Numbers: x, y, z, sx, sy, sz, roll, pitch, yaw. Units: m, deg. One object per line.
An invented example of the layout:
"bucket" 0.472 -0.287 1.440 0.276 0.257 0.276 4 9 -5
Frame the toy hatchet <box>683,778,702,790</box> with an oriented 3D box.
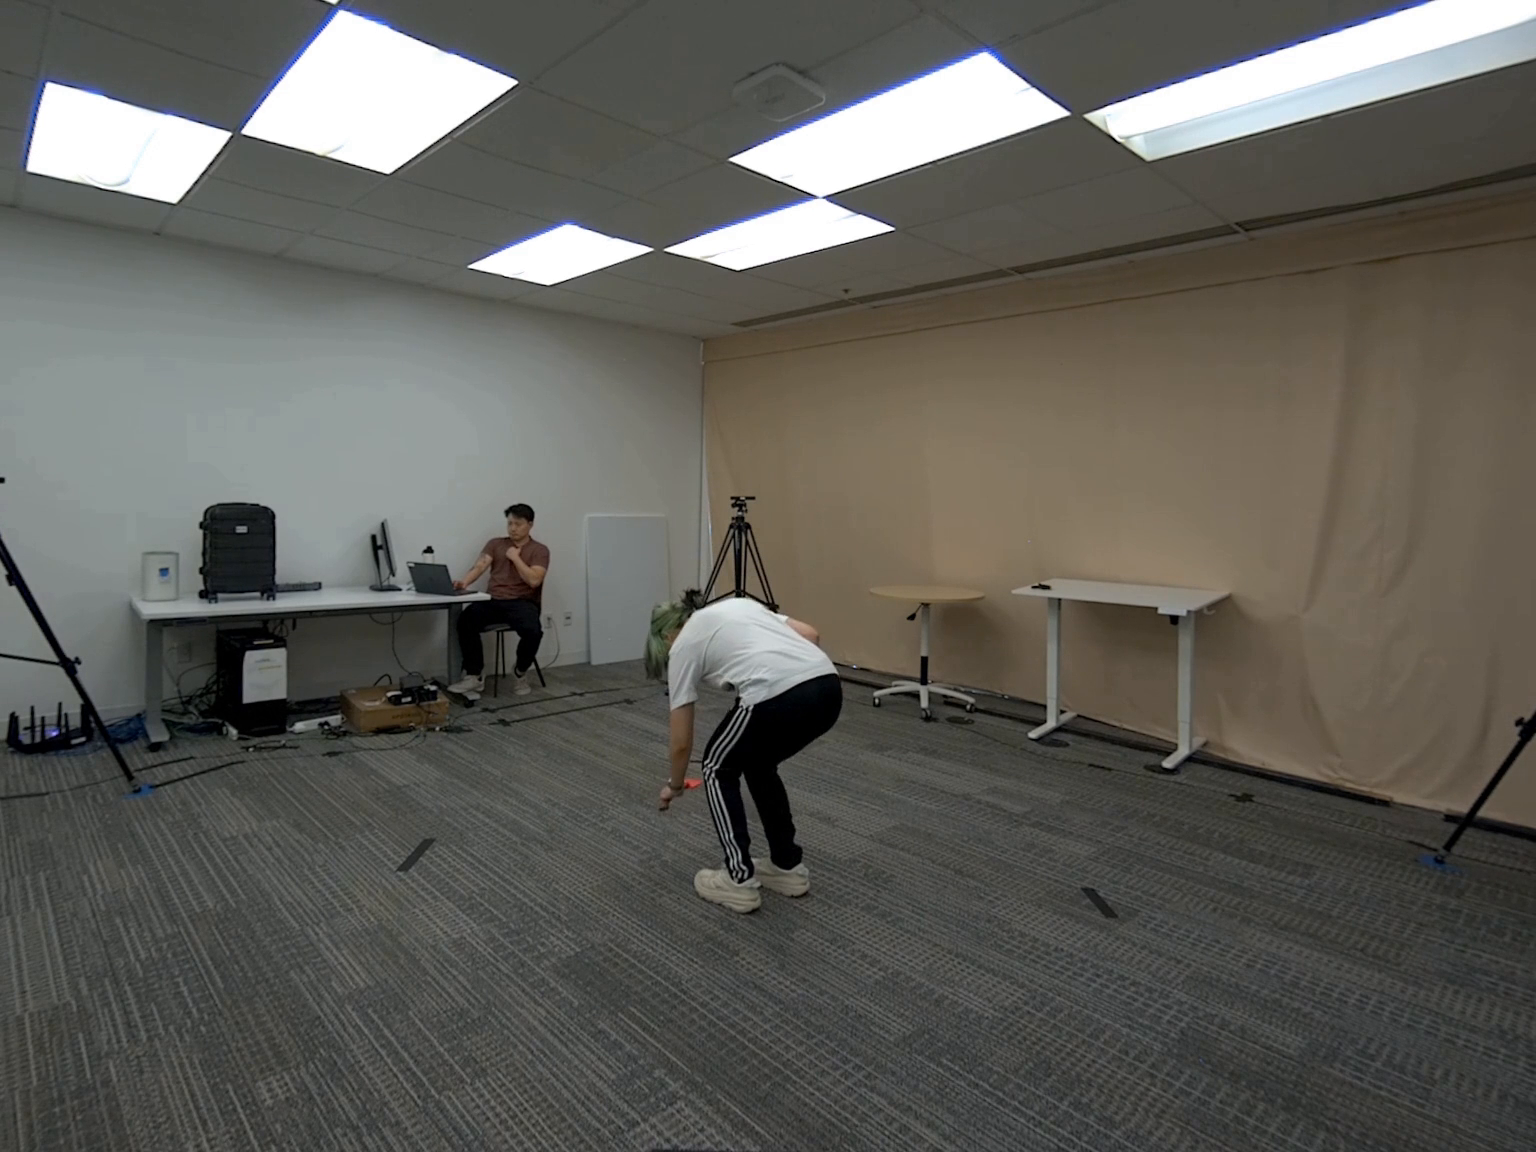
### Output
"toy hatchet" -0.338 0.824 3.196 0.132 0.029 0.269 -9 5 7
